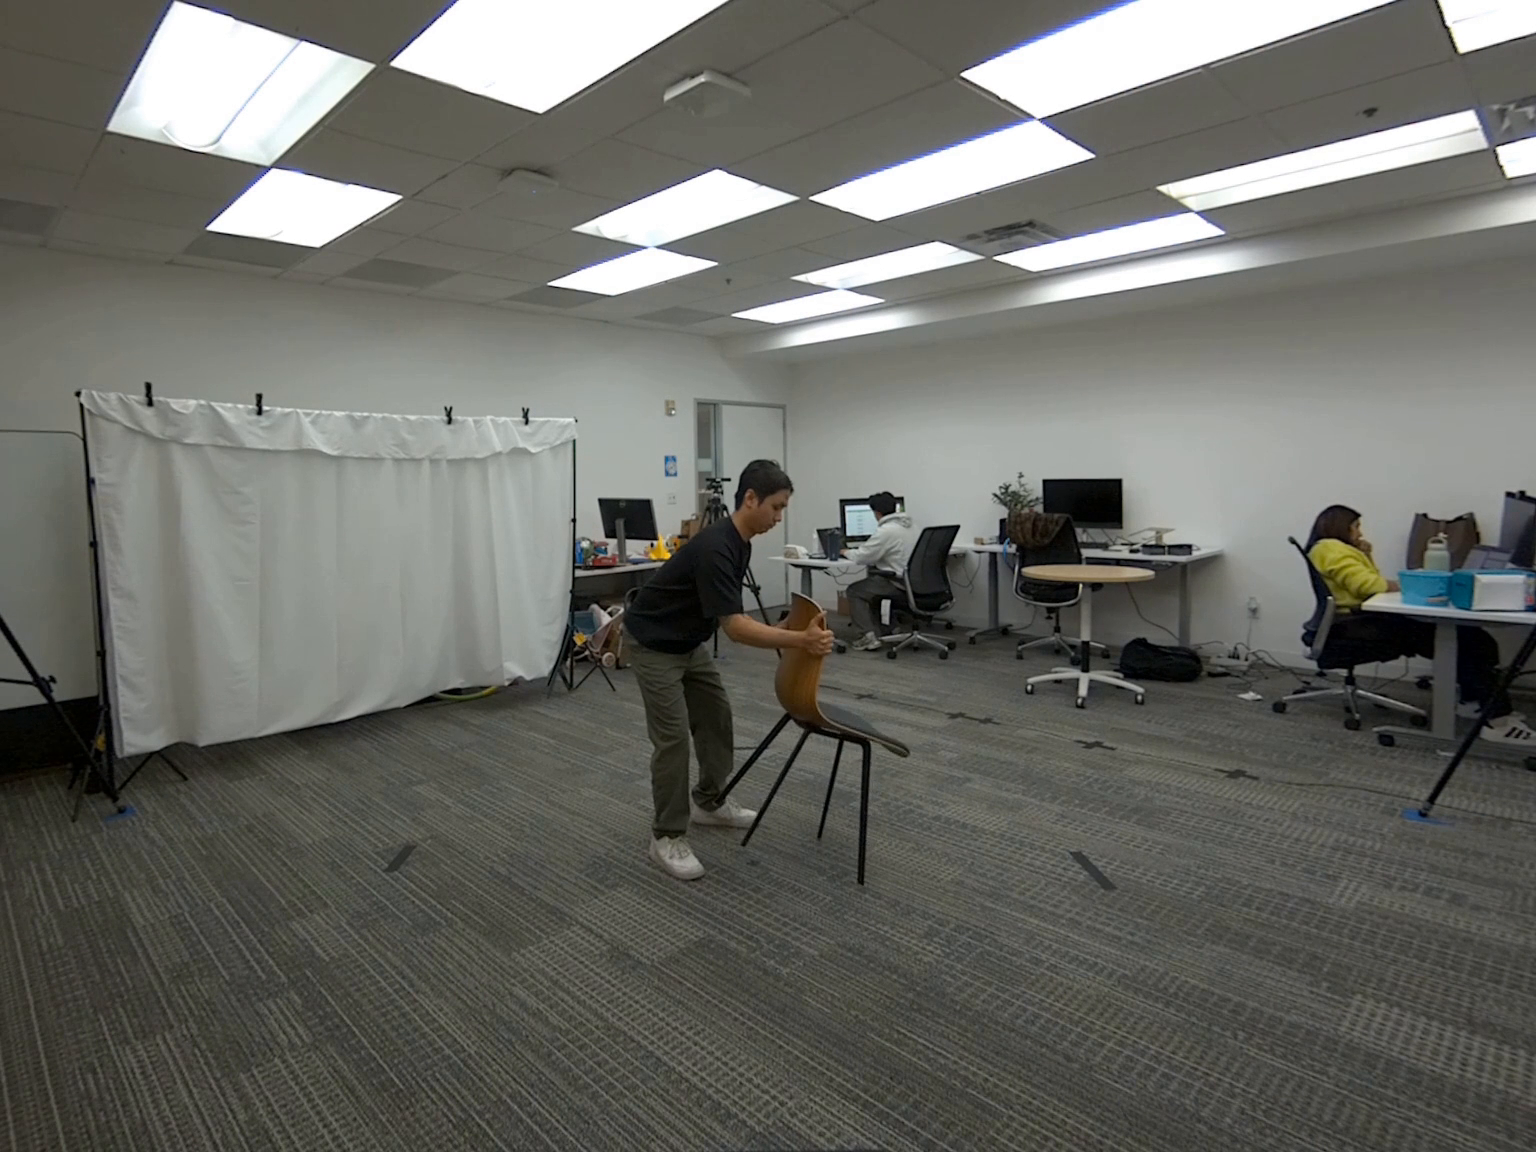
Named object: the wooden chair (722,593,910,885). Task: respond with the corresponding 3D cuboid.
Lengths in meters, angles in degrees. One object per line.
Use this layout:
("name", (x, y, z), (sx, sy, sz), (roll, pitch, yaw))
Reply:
("wooden chair", (0.212, 0.548, 3.067), (0.515, 0.879, 0.485), (17, -3, -14))
